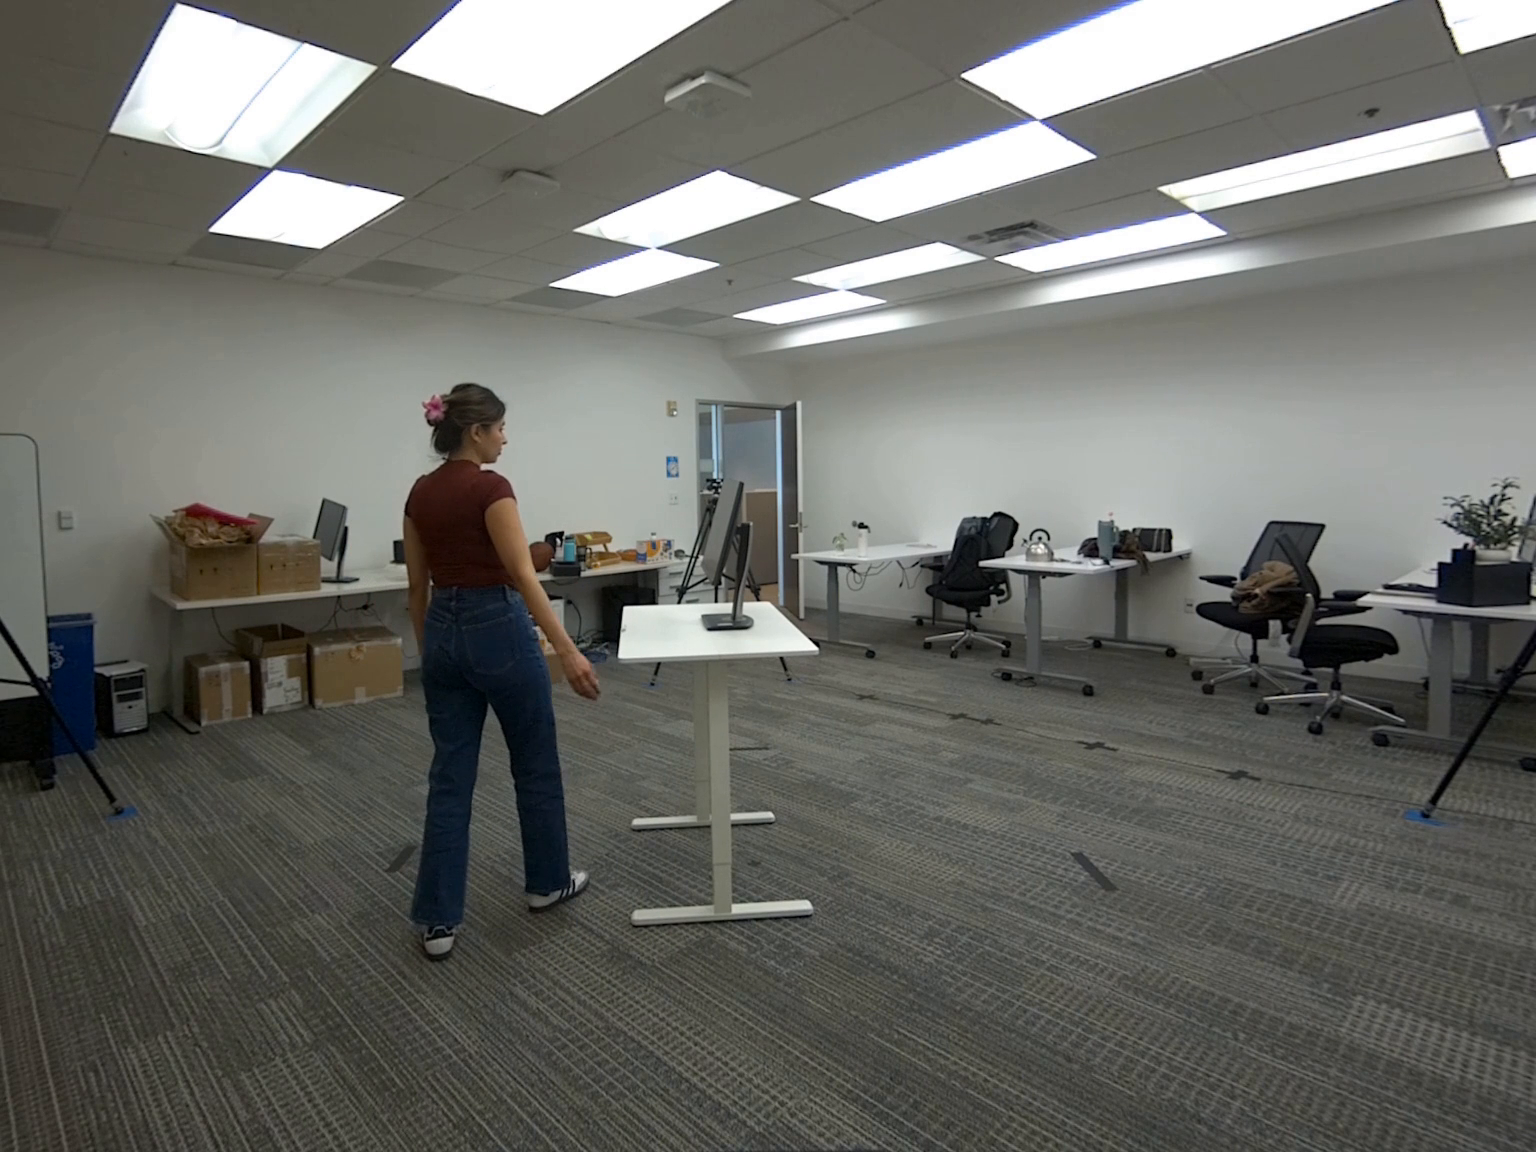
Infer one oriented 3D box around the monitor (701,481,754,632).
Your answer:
[{"bbox_3d":[-0.136,-0.083,3.044,0.185,0.520,0.546,0,5,-10],"label":"monitor"}]
